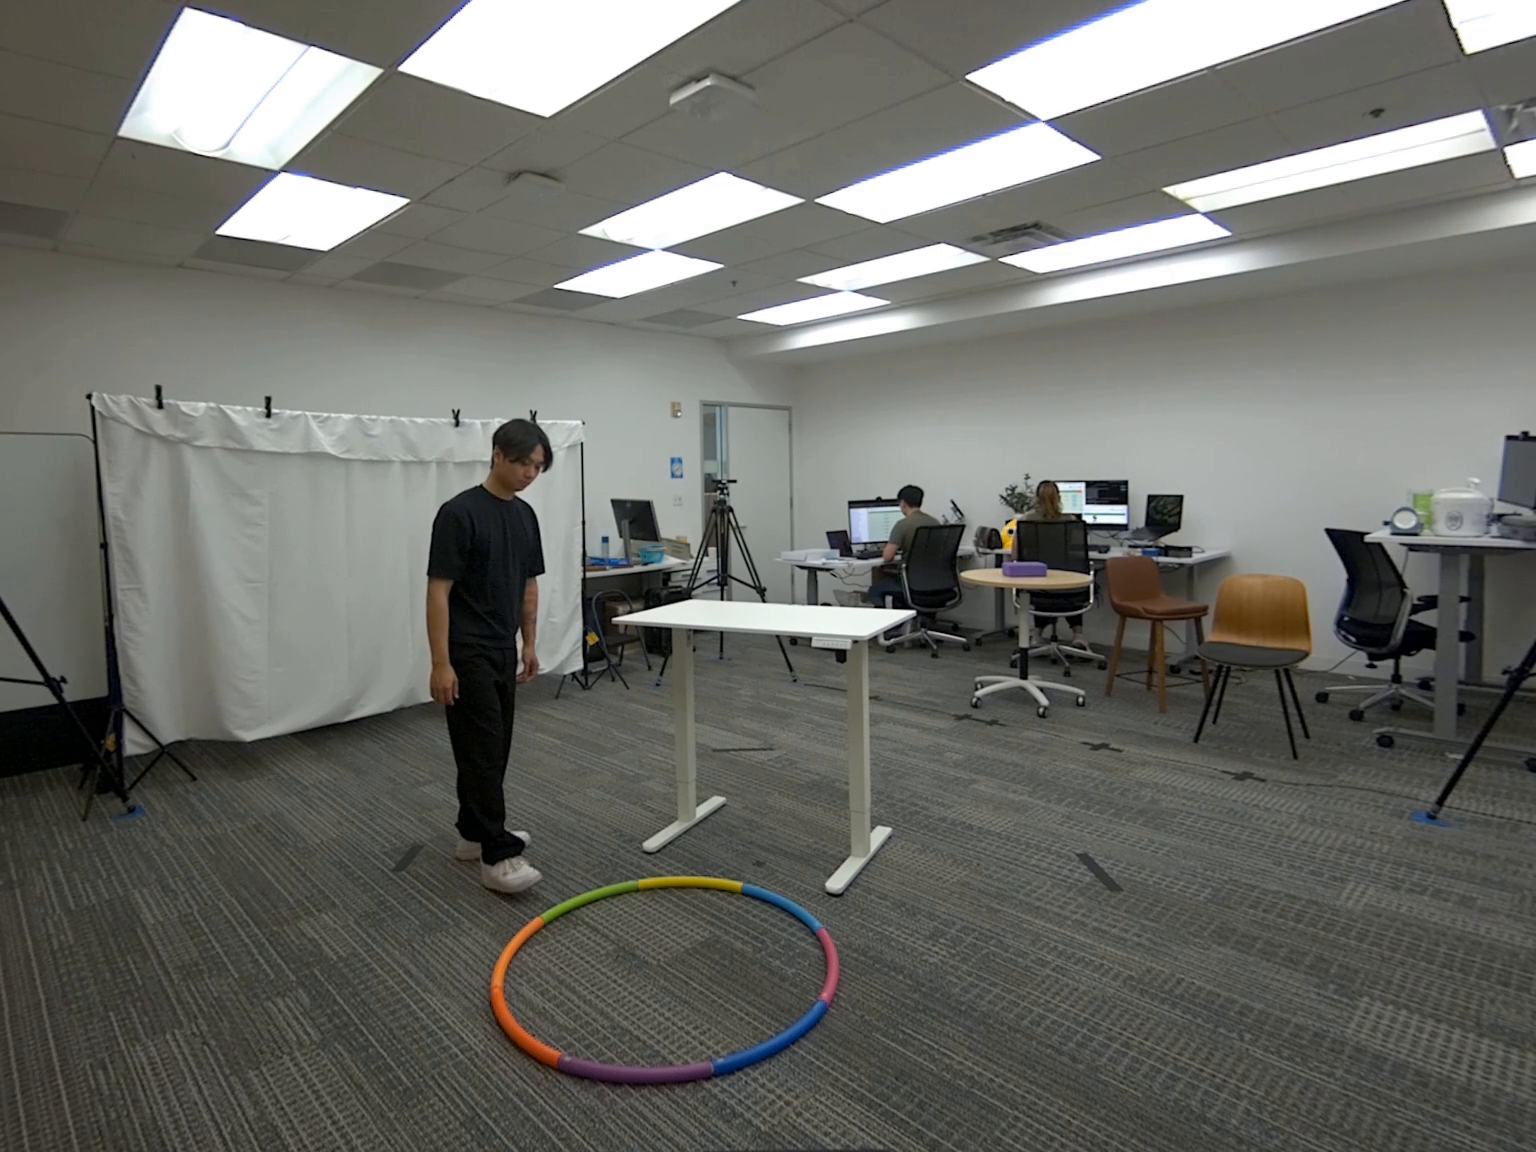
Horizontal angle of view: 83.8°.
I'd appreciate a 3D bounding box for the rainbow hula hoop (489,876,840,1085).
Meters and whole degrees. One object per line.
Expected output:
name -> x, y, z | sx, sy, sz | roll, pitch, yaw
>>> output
rainbow hula hoop -> -0.283, 1.098, 2.472 | 0.978, 0.035, 0.984 | -1, 6, -2
